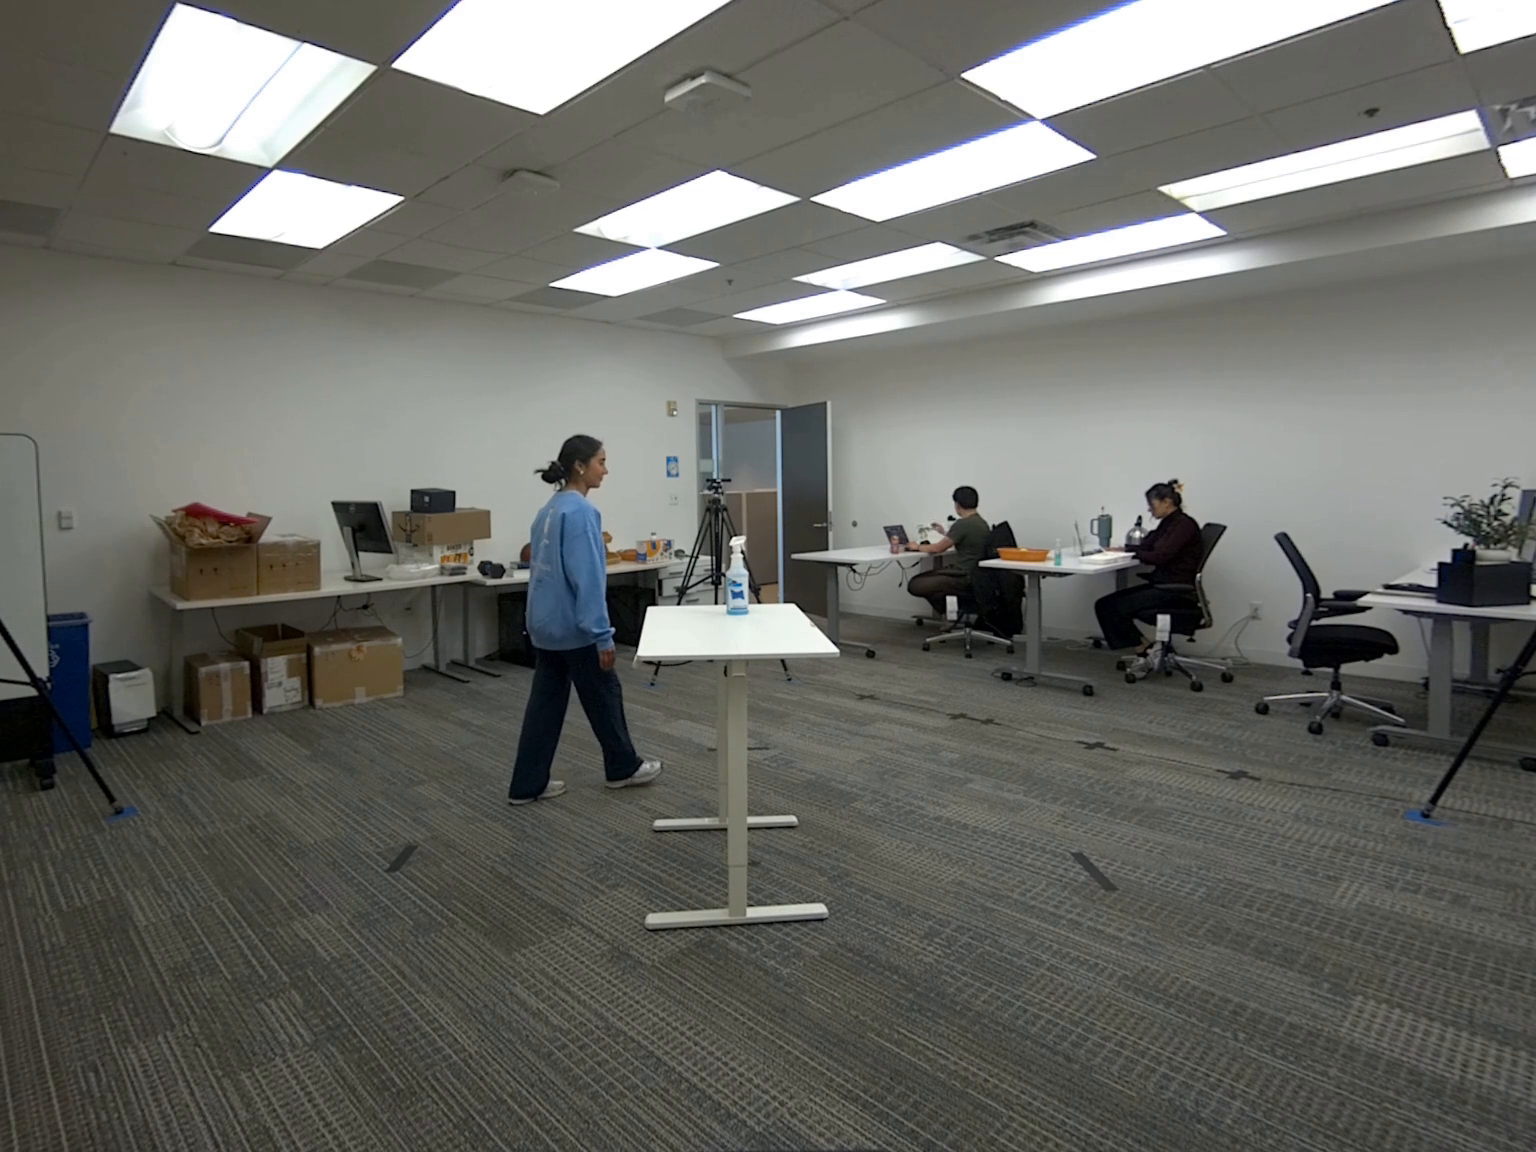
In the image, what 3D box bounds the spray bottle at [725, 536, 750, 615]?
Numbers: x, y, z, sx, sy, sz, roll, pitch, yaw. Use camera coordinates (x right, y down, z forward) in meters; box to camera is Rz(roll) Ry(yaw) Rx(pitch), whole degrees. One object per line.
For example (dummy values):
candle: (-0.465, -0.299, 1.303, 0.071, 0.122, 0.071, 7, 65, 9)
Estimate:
spray bottle: (-0.115, -0.001, 3.286, 0.088, 0.297, 0.089, 0, 0, -27)
